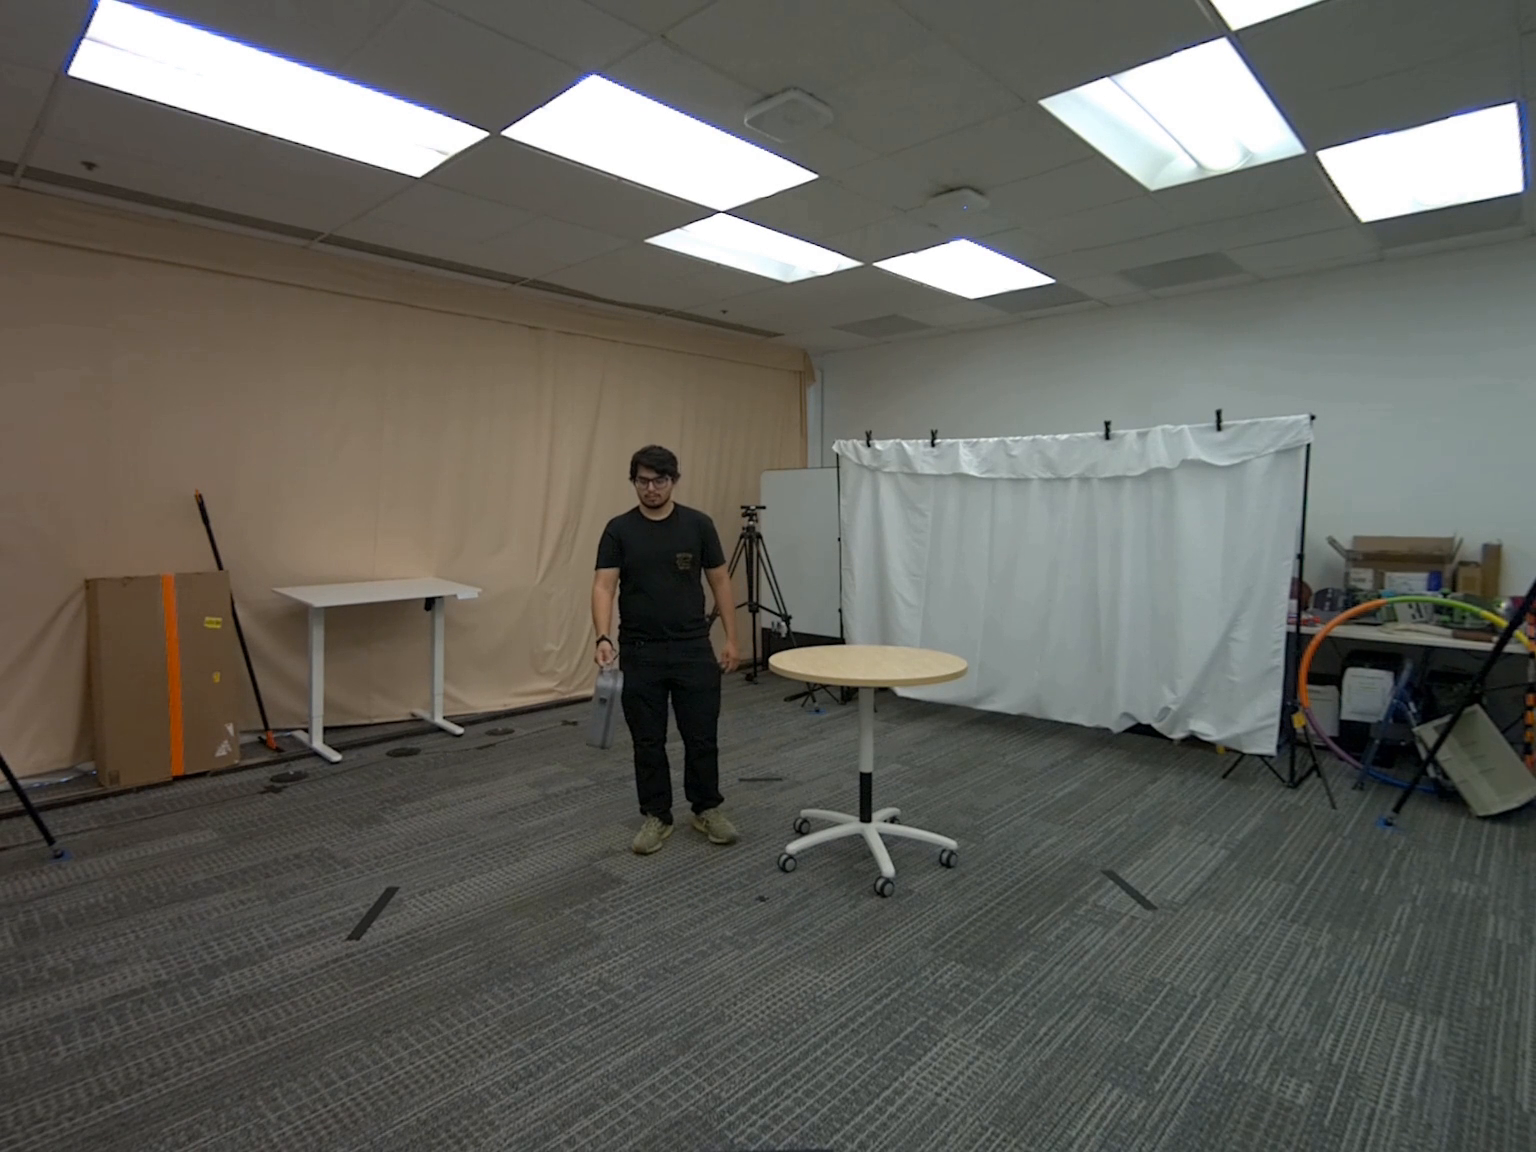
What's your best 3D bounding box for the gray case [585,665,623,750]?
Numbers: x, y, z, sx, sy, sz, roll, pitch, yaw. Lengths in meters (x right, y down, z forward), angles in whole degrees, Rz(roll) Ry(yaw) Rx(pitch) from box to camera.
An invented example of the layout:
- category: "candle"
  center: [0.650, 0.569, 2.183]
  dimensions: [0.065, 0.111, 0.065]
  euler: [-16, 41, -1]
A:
- category: "gray case"
  center: [-0.607, 0.487, 3.170]
  dimensions: [0.104, 0.260, 0.259]
  euler: [8, 5, -7]
